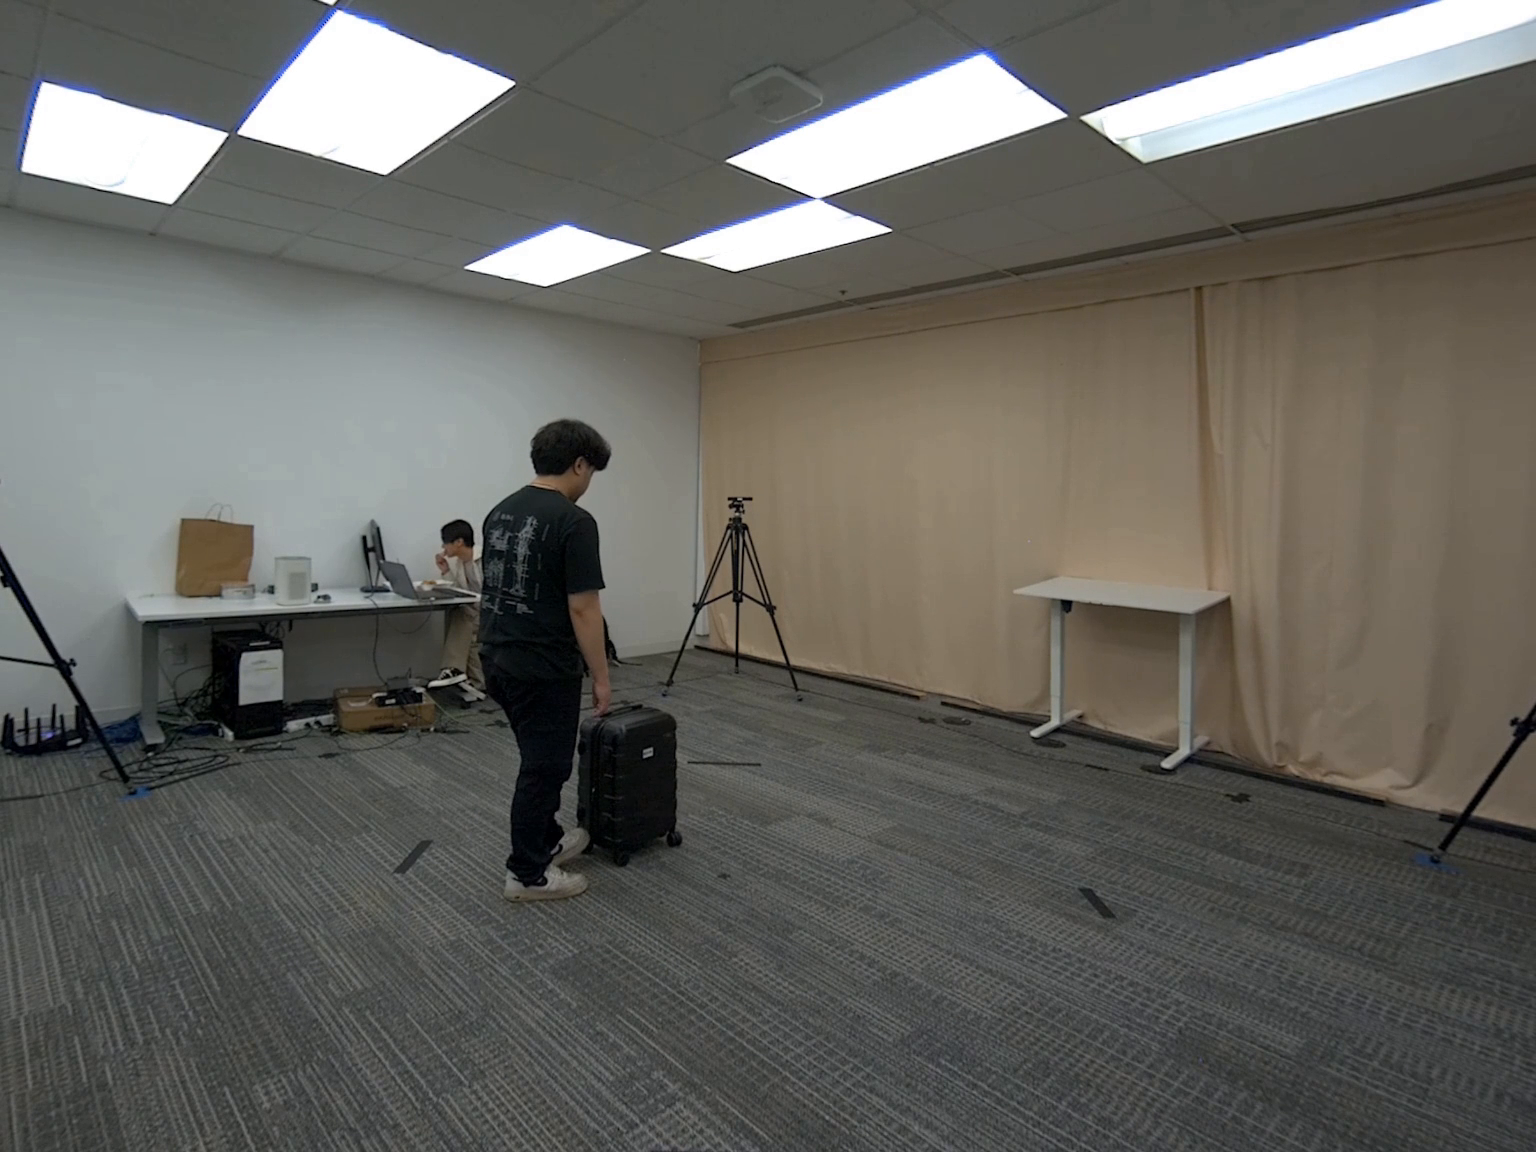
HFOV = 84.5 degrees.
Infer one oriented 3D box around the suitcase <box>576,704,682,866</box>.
[{"bbox_3d":[-0.555,0.802,3.333,0.254,0.548,0.367,3,3,39],"label":"suitcase"}]
